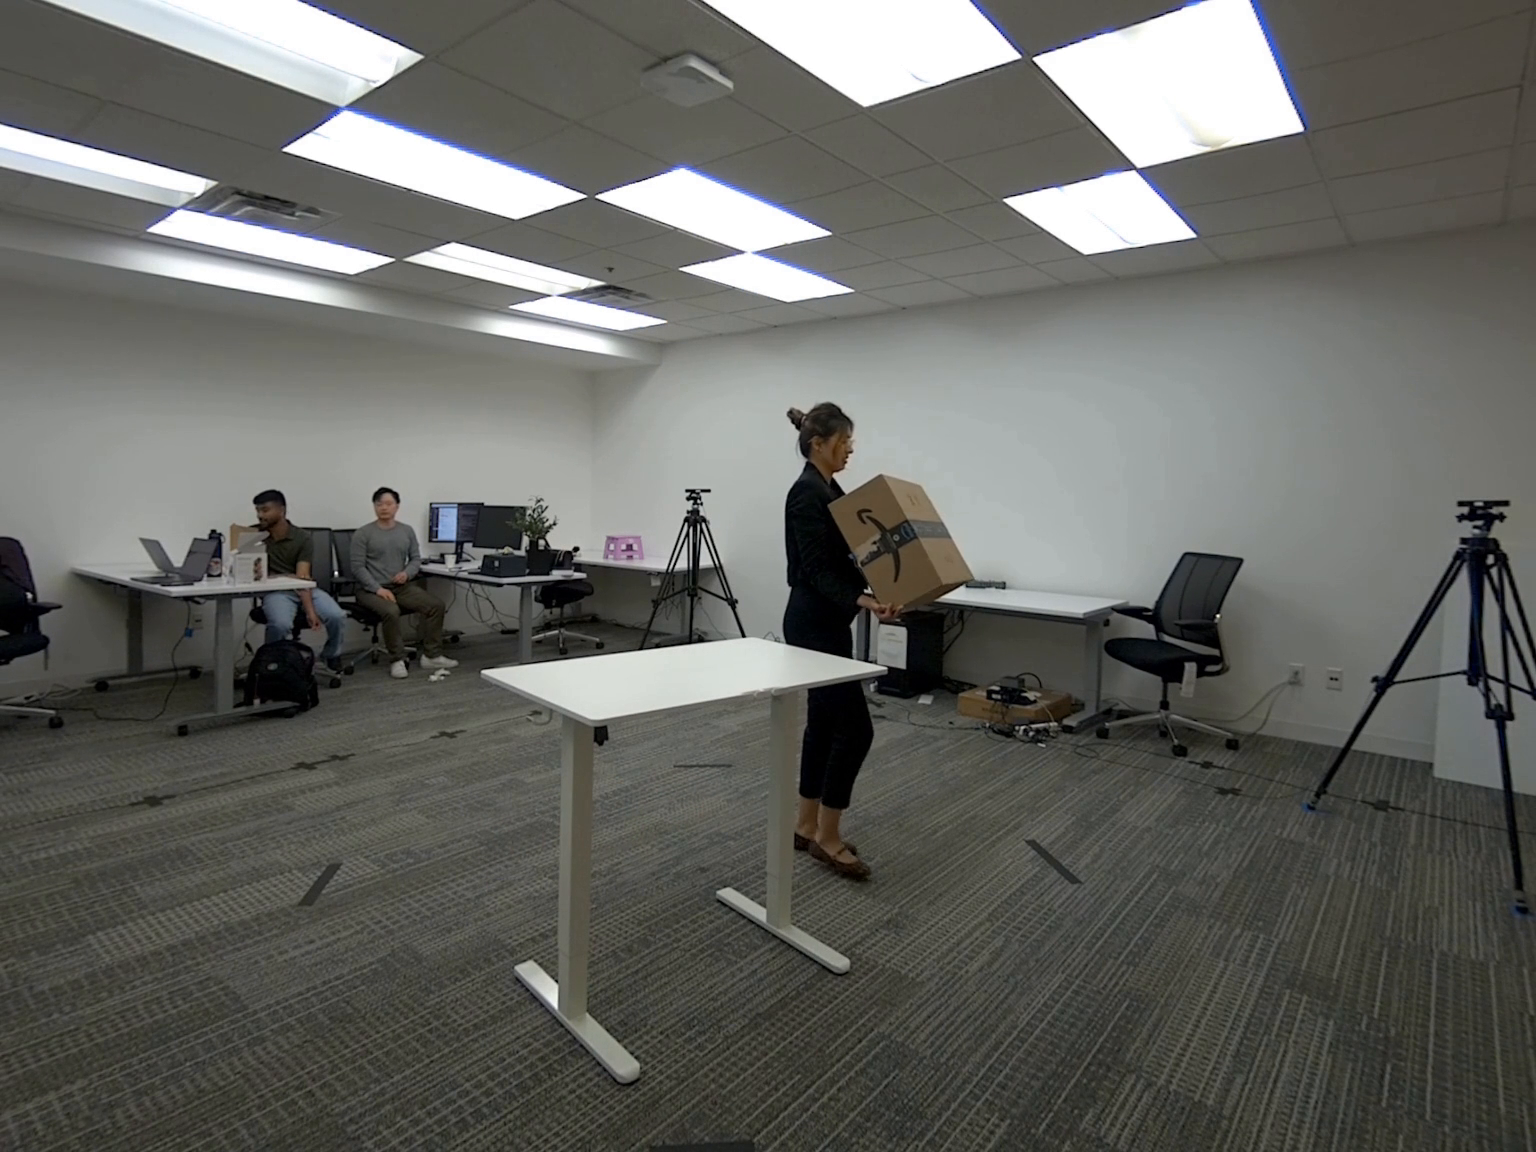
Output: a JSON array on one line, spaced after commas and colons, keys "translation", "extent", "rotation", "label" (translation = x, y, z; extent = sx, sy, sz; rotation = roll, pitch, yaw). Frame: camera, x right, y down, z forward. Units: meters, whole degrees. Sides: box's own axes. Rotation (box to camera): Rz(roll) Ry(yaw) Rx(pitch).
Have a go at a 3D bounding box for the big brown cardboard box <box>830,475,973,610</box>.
[{"translation": [0.479, -0.116, 3.032], "extent": [0.235, 0.425, 0.574], "rotation": [-32, -12, 21], "label": "big brown cardboard box"}]
